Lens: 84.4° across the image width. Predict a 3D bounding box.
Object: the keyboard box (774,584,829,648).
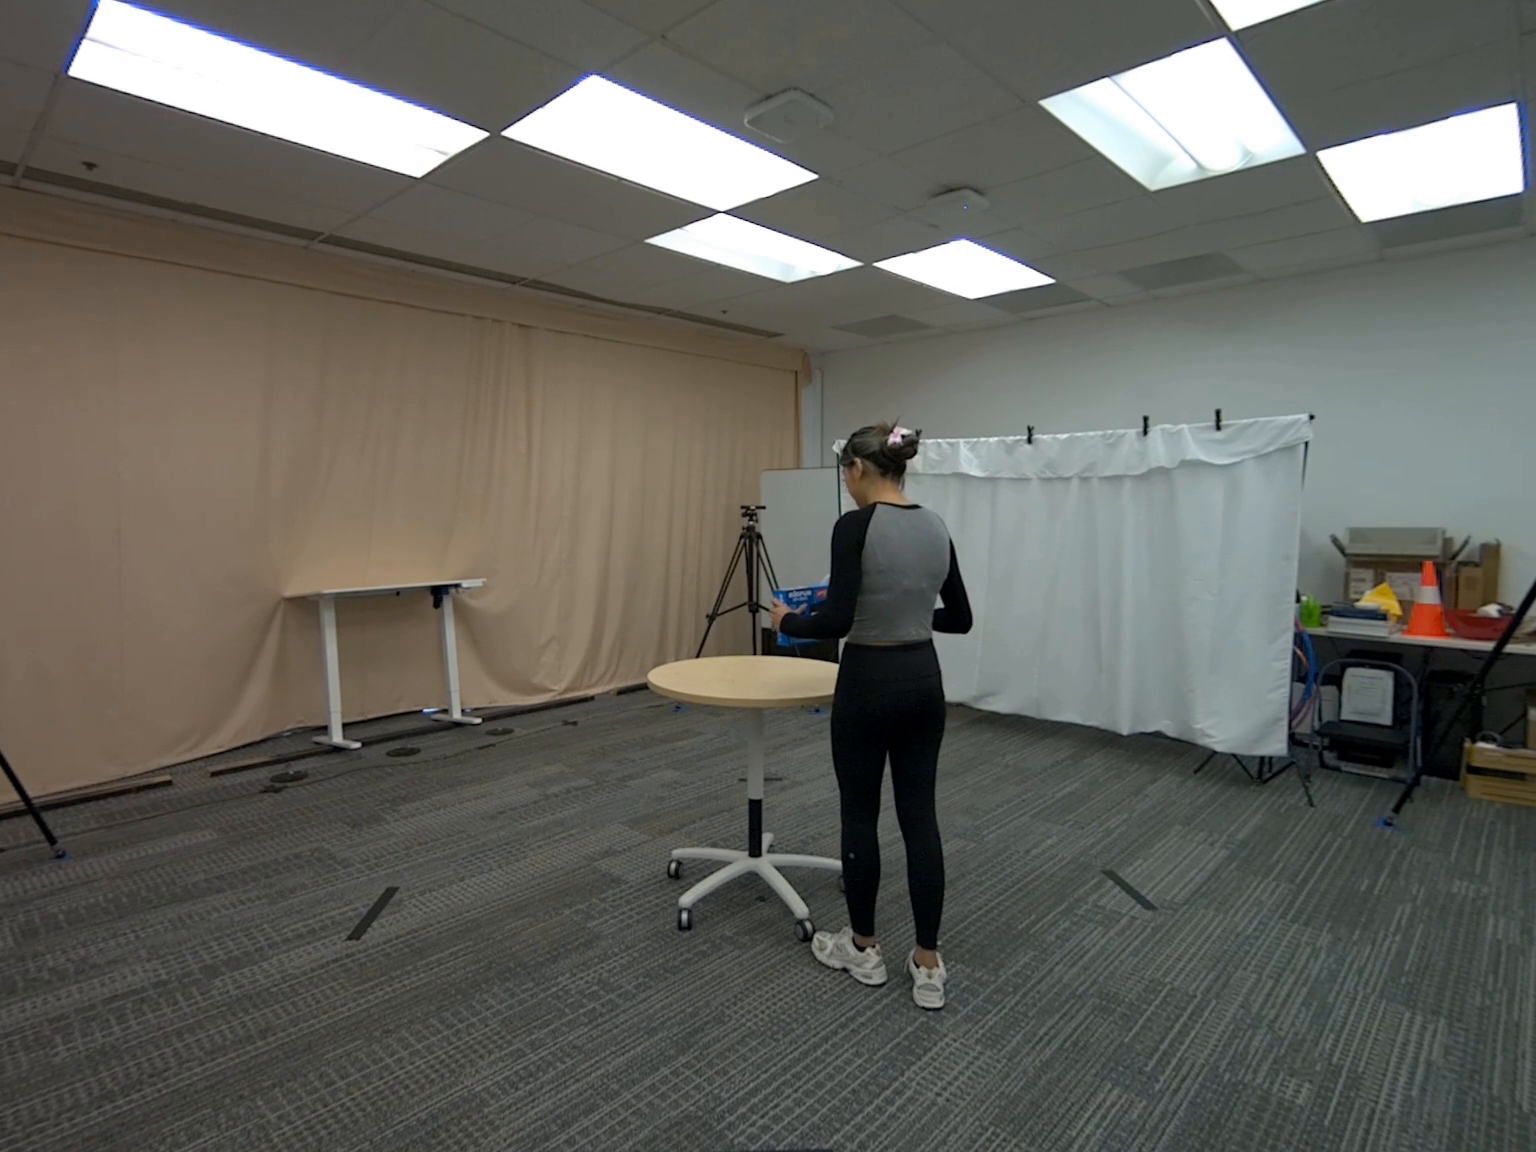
[{"bbox_3d":[0.230,0.115,2.687,0.425,0.176,0.061,-6,3,-31],"label":"keyboard box"}]
